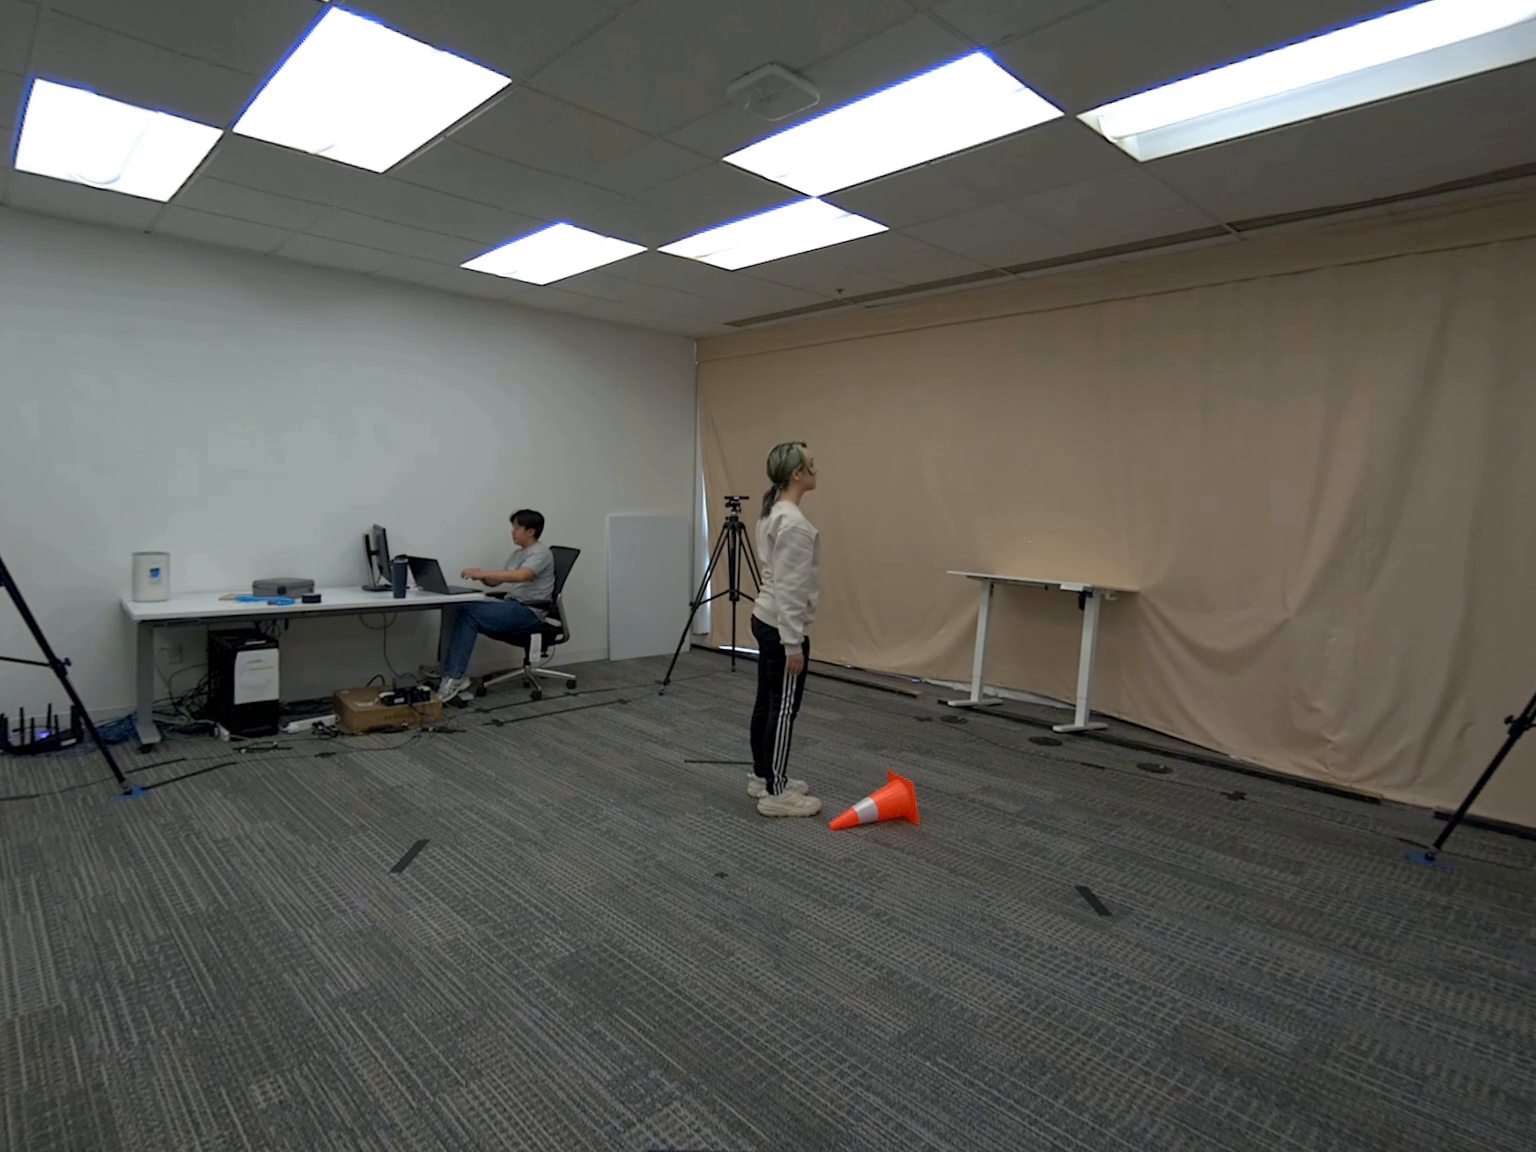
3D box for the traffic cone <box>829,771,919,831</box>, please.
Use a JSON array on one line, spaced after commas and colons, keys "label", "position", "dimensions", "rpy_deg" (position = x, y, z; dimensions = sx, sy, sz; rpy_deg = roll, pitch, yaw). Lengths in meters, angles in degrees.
[{"label": "traffic cone", "position": [0.423, 1.016, 3.636], "dimensions": [0.378, 0.203, 0.207], "rpy_deg": [-14, 10, -25]}]
